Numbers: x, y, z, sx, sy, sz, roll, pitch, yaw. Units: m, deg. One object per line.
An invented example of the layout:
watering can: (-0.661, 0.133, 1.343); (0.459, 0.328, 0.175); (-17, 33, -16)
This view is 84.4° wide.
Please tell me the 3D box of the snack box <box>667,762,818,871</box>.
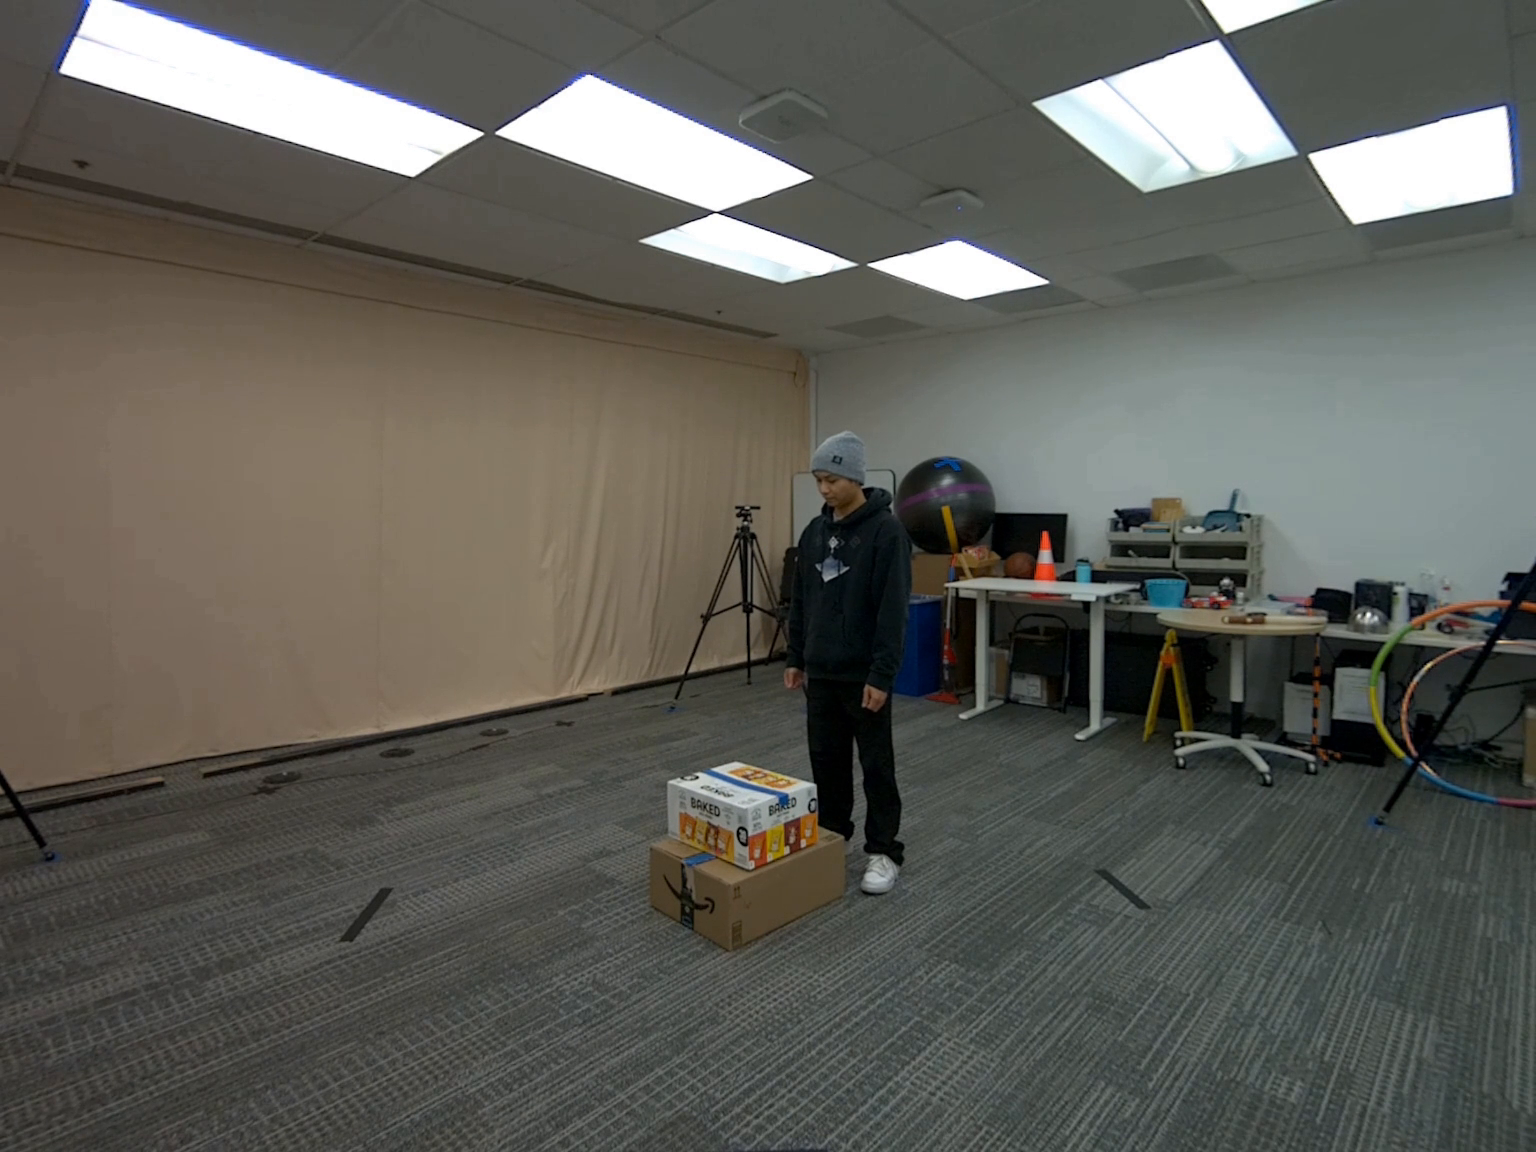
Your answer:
snack box: (-0.090, 0.829, 2.953); (0.330, 0.205, 0.418); (-4, 5, -44)
